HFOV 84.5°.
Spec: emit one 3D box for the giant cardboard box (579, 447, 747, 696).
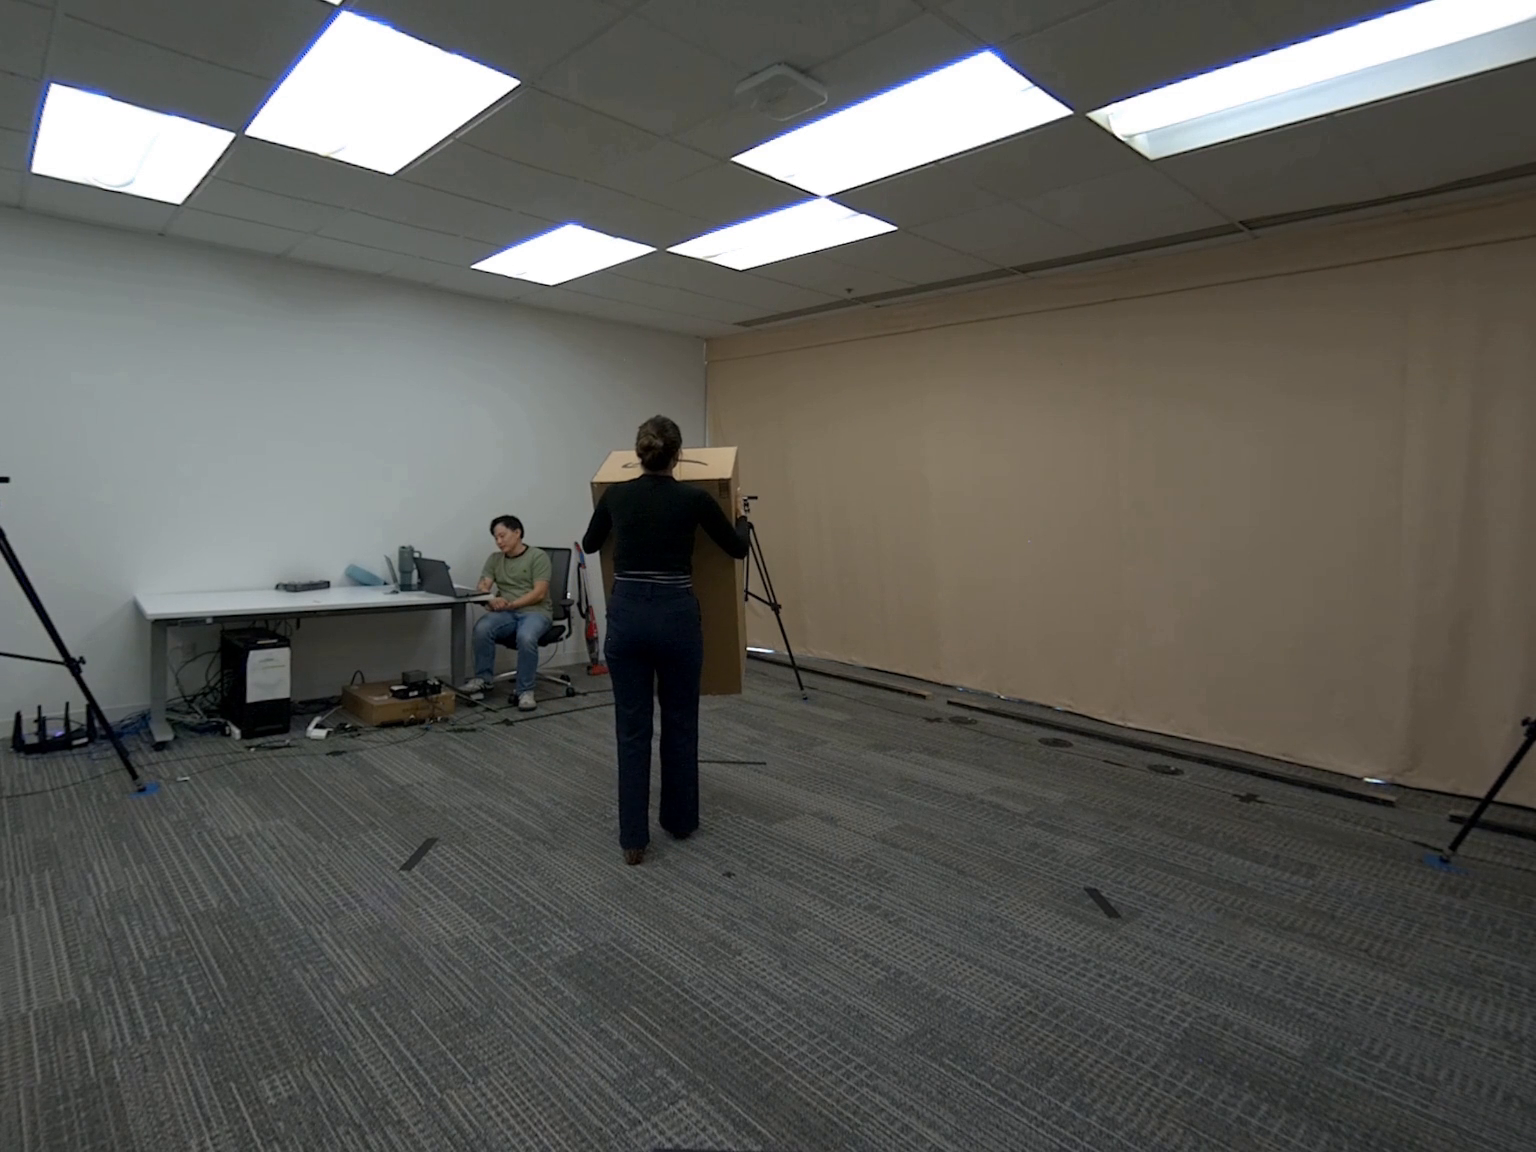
[{"bbox_3d":[-0.413,-0.016,3.763,0.580,1.008,0.432,0,24,4],"label":"giant cardboard box"}]
